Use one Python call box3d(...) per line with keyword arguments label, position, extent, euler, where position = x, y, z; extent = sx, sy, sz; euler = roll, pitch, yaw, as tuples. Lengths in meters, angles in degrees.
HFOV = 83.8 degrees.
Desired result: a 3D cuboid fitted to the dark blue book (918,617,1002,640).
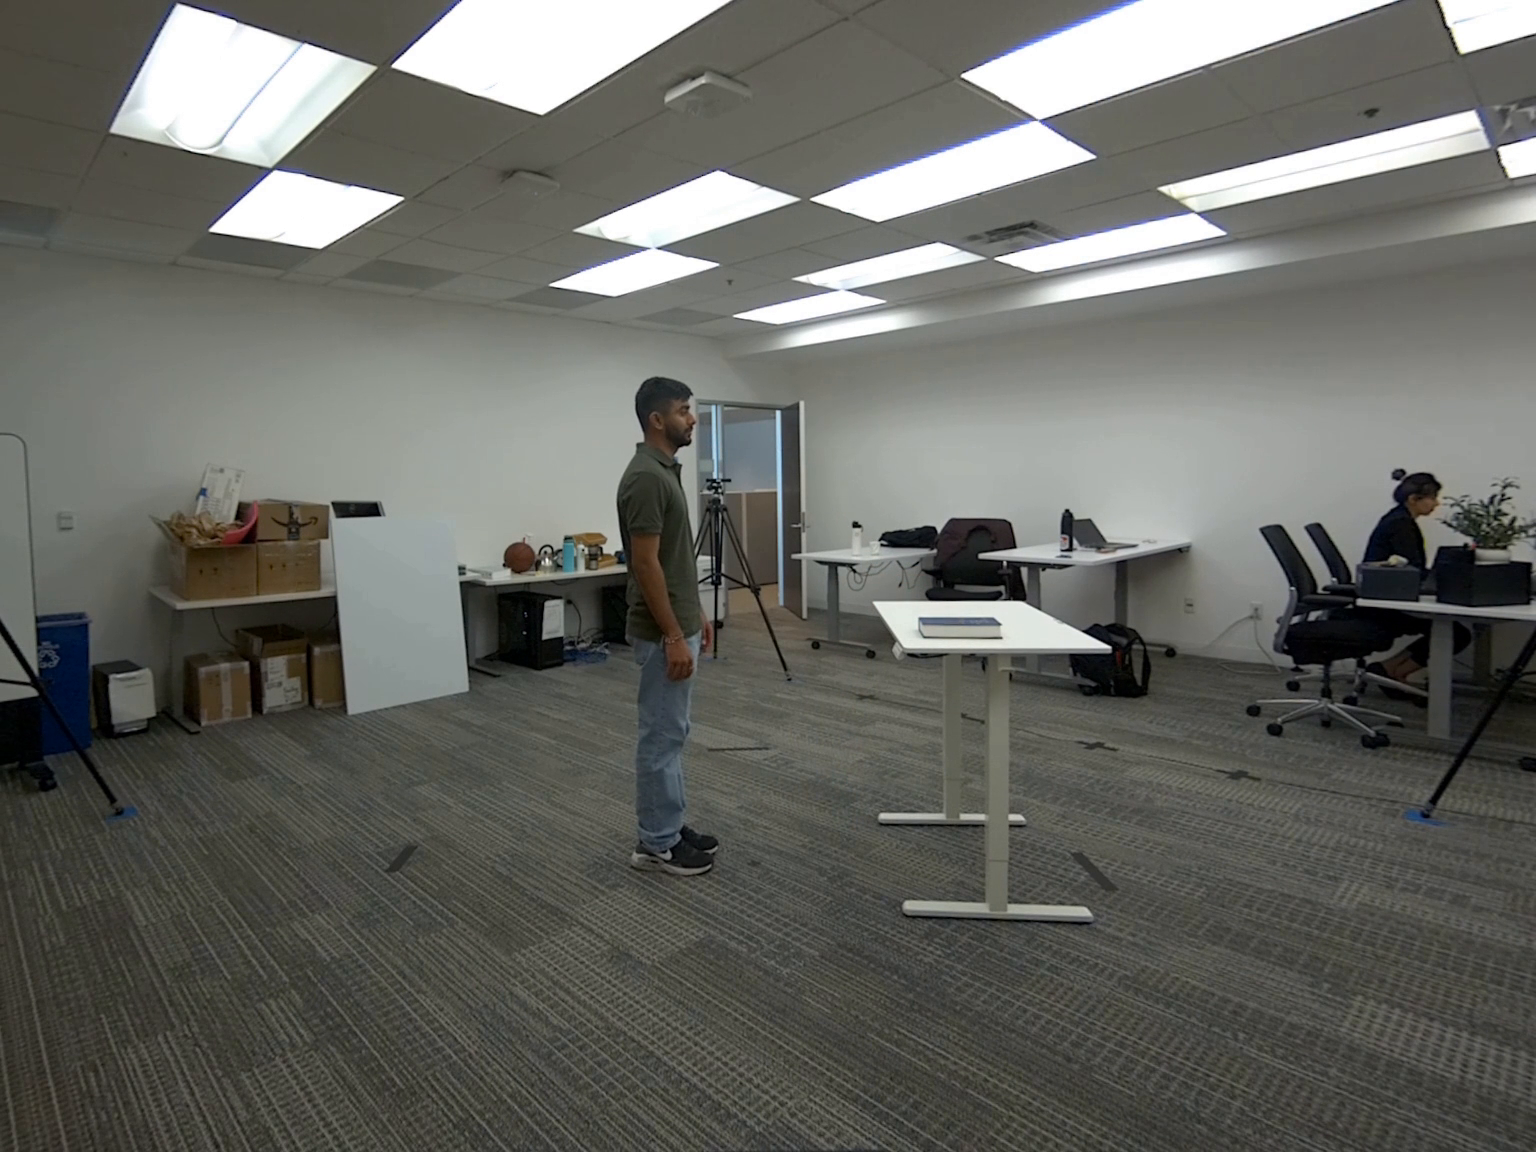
box3d(label="dark blue book", position=(0.620, 0.165, 2.765), extent=(0.247, 0.045, 0.163), euler=(0, 6, 8))
